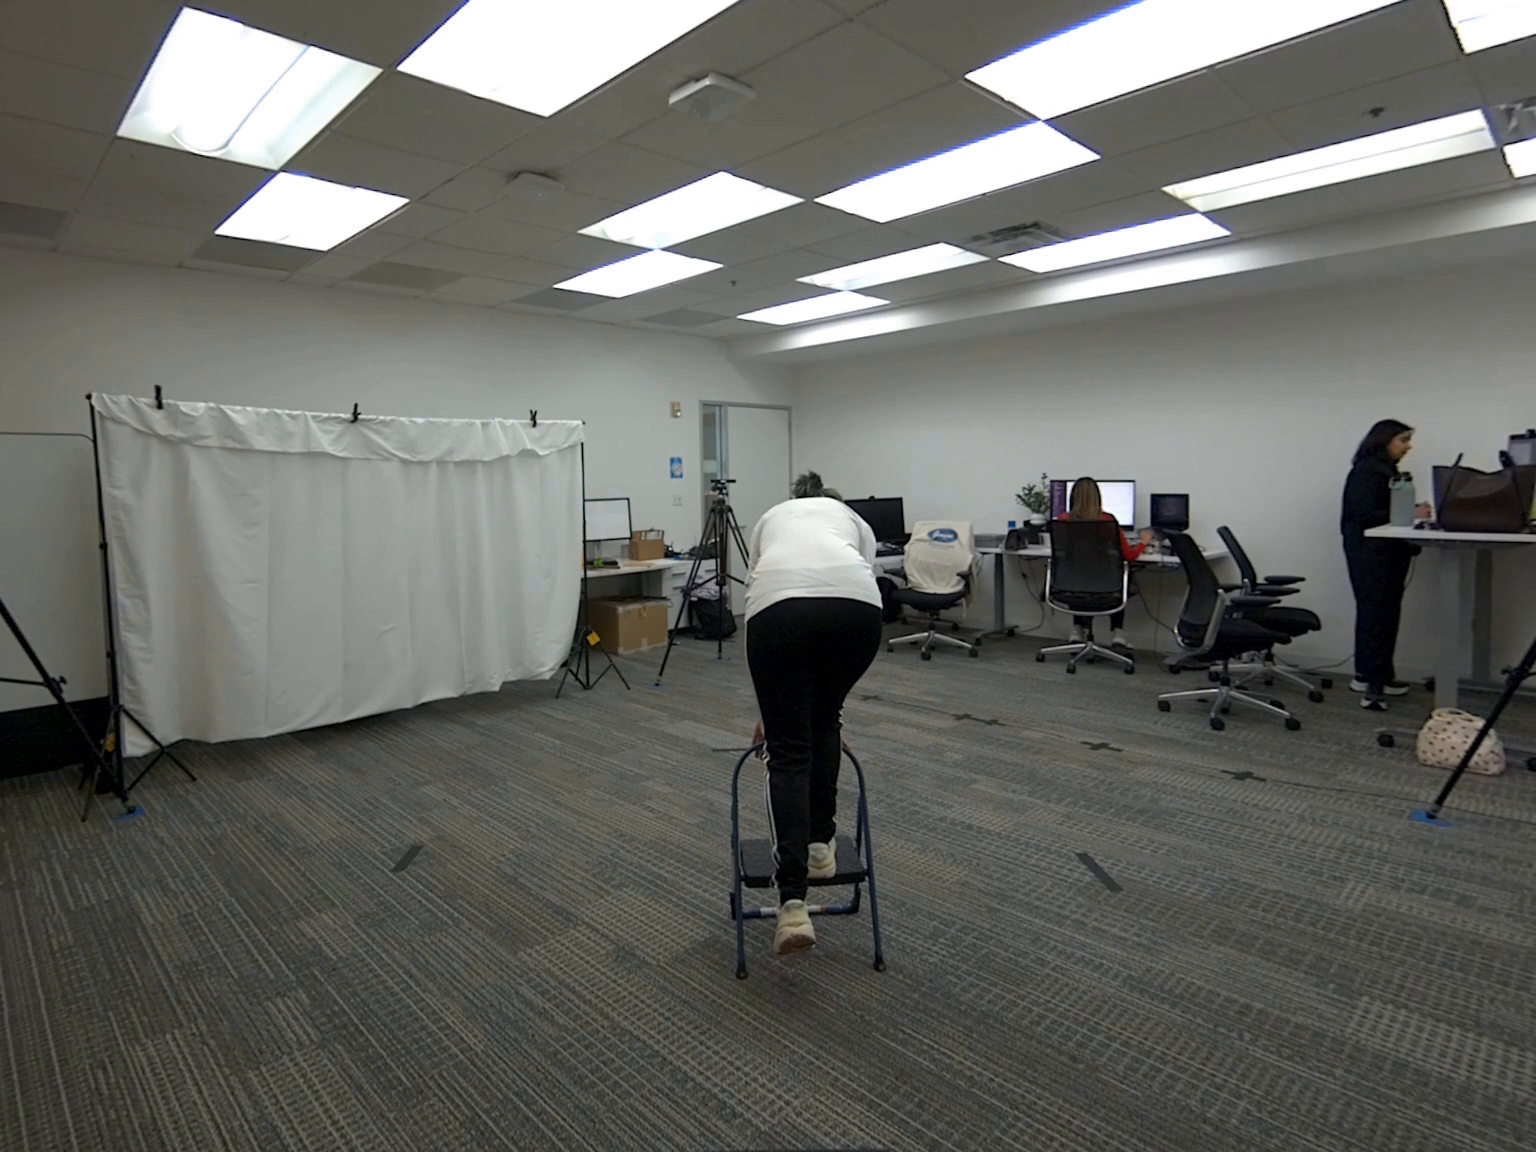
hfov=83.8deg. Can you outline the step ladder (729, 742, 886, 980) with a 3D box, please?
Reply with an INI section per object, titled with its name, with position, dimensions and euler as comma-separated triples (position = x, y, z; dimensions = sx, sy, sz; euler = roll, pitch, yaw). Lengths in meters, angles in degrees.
[step ladder]
position = 0.102, 0.810, 2.565
dimensions = 0.429, 0.604, 0.352
euler = -2, 4, -5
